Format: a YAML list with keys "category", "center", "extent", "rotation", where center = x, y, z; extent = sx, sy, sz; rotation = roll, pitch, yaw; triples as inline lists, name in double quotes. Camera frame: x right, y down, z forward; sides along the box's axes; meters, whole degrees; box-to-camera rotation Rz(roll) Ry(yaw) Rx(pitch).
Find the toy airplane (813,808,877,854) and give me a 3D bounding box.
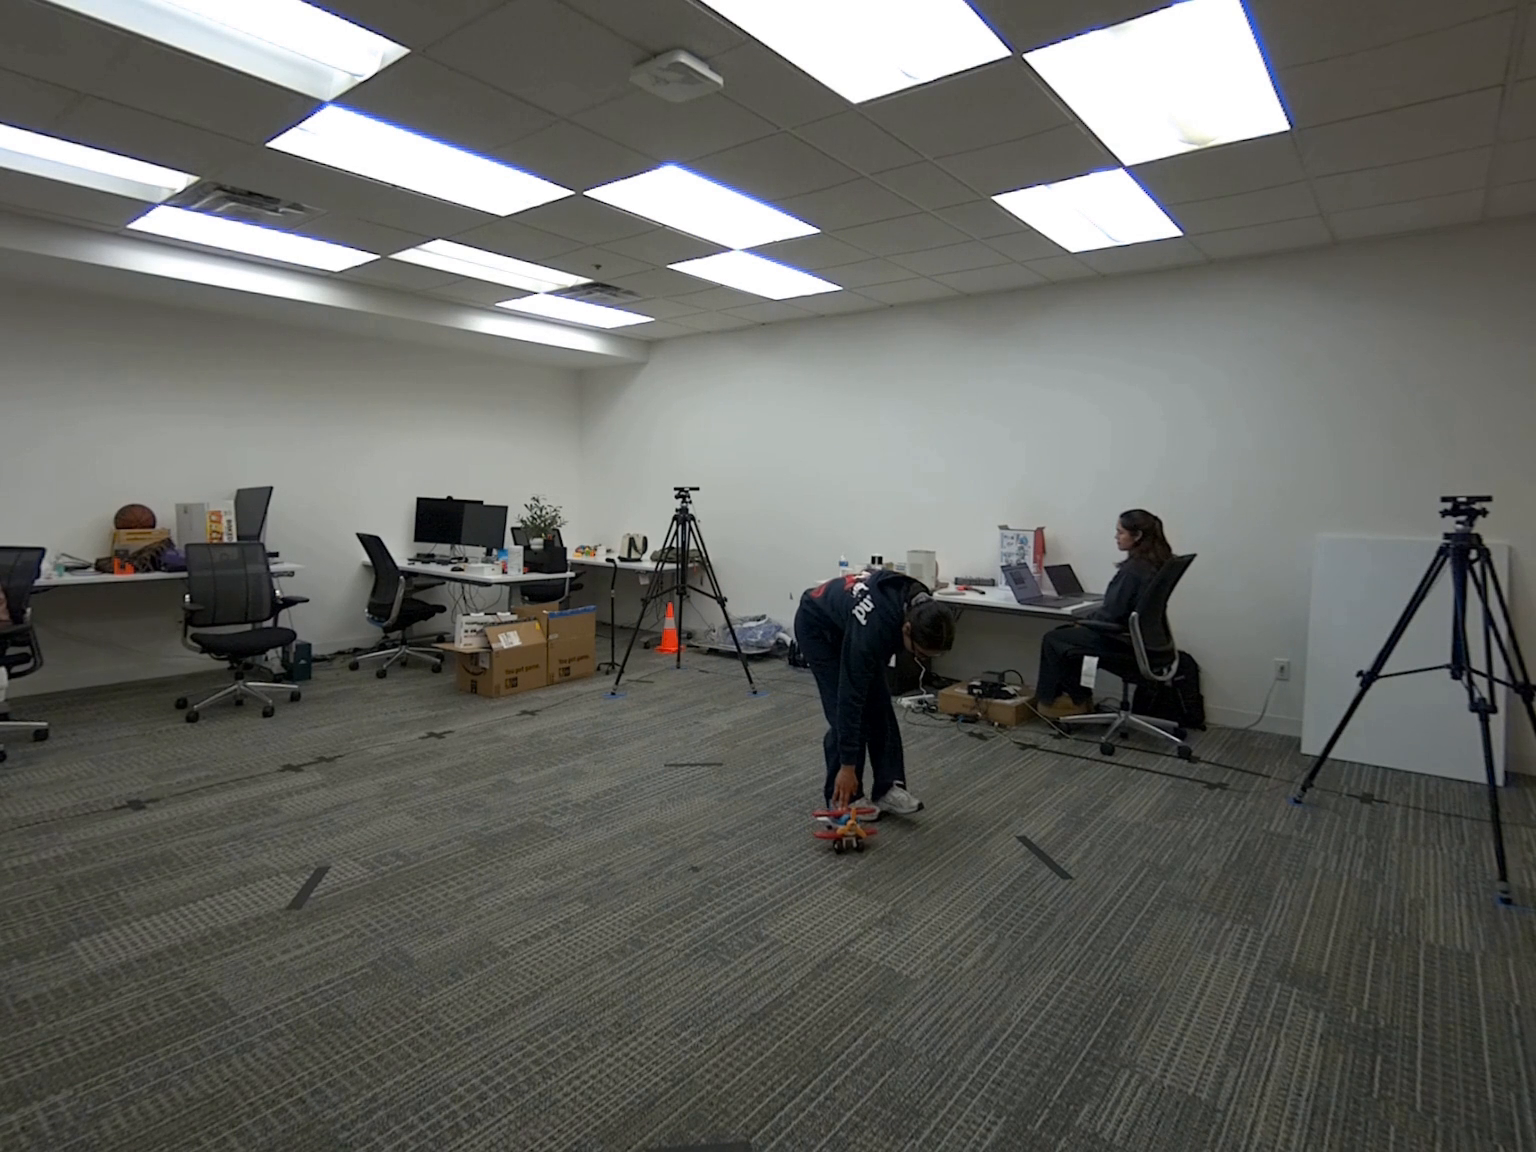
- category: "toy airplane"
  center: [0.265, 0.978, 3.357]
  extent: [0.244, 0.156, 0.268]
  rotation: [-4, 7, -38]
